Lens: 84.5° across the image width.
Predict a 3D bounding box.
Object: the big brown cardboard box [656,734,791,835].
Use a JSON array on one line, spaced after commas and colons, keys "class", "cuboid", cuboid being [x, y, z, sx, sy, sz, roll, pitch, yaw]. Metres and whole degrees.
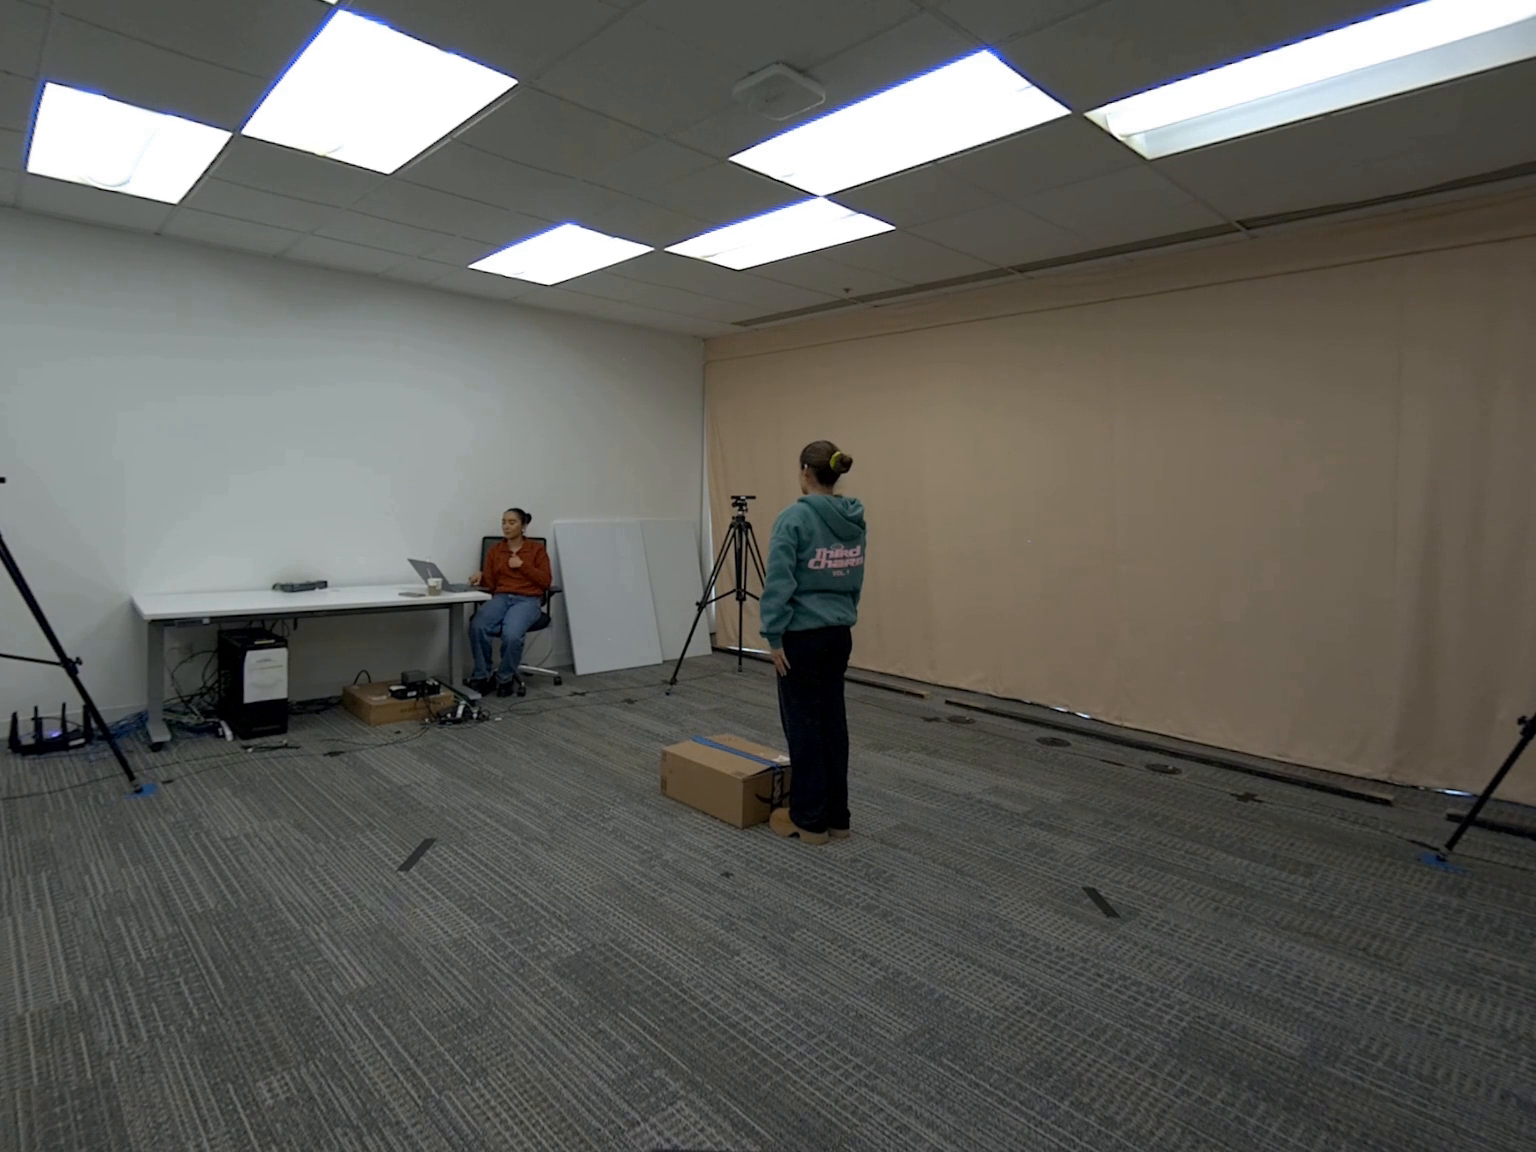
[{"class": "big brown cardboard box", "cuboid": [-0.166, 0.930, 3.871, 0.408, 0.233, 0.604, -2, 5, -44]}]
